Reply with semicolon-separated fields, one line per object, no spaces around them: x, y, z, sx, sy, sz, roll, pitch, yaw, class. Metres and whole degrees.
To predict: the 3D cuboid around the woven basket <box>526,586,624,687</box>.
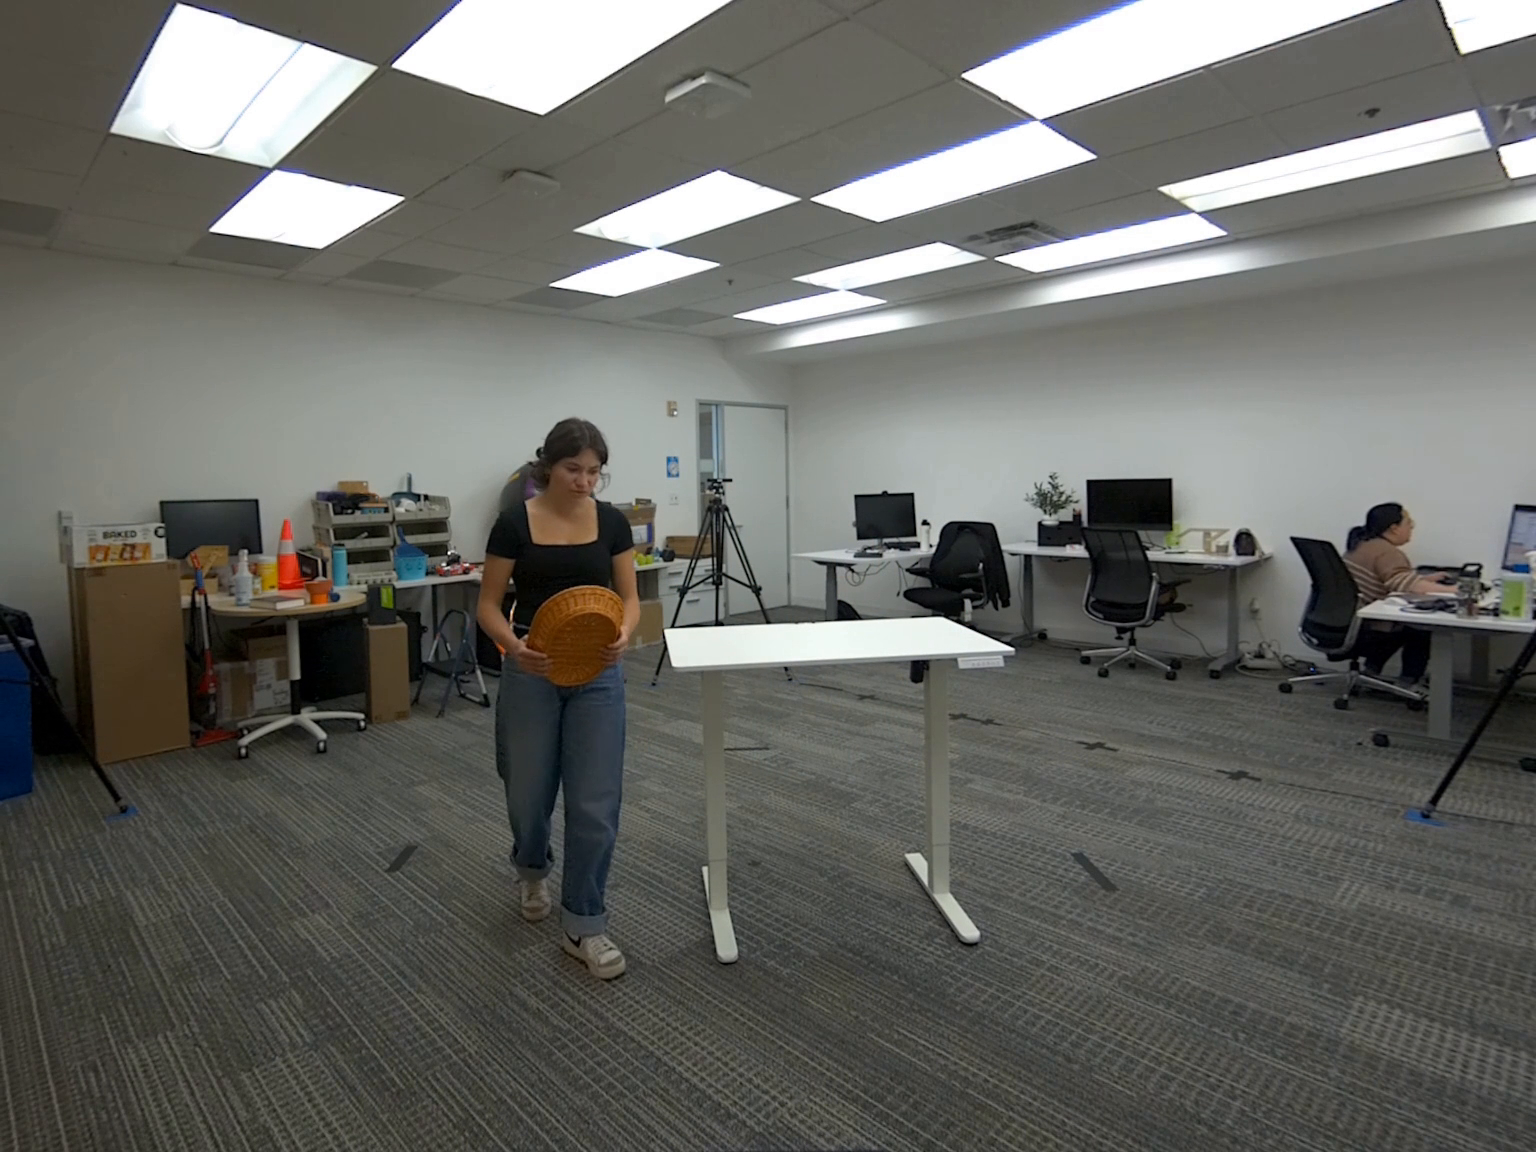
-0.522;0.178;2.291;0.247;0.345;0.076;-2;43;-27;woven basket
